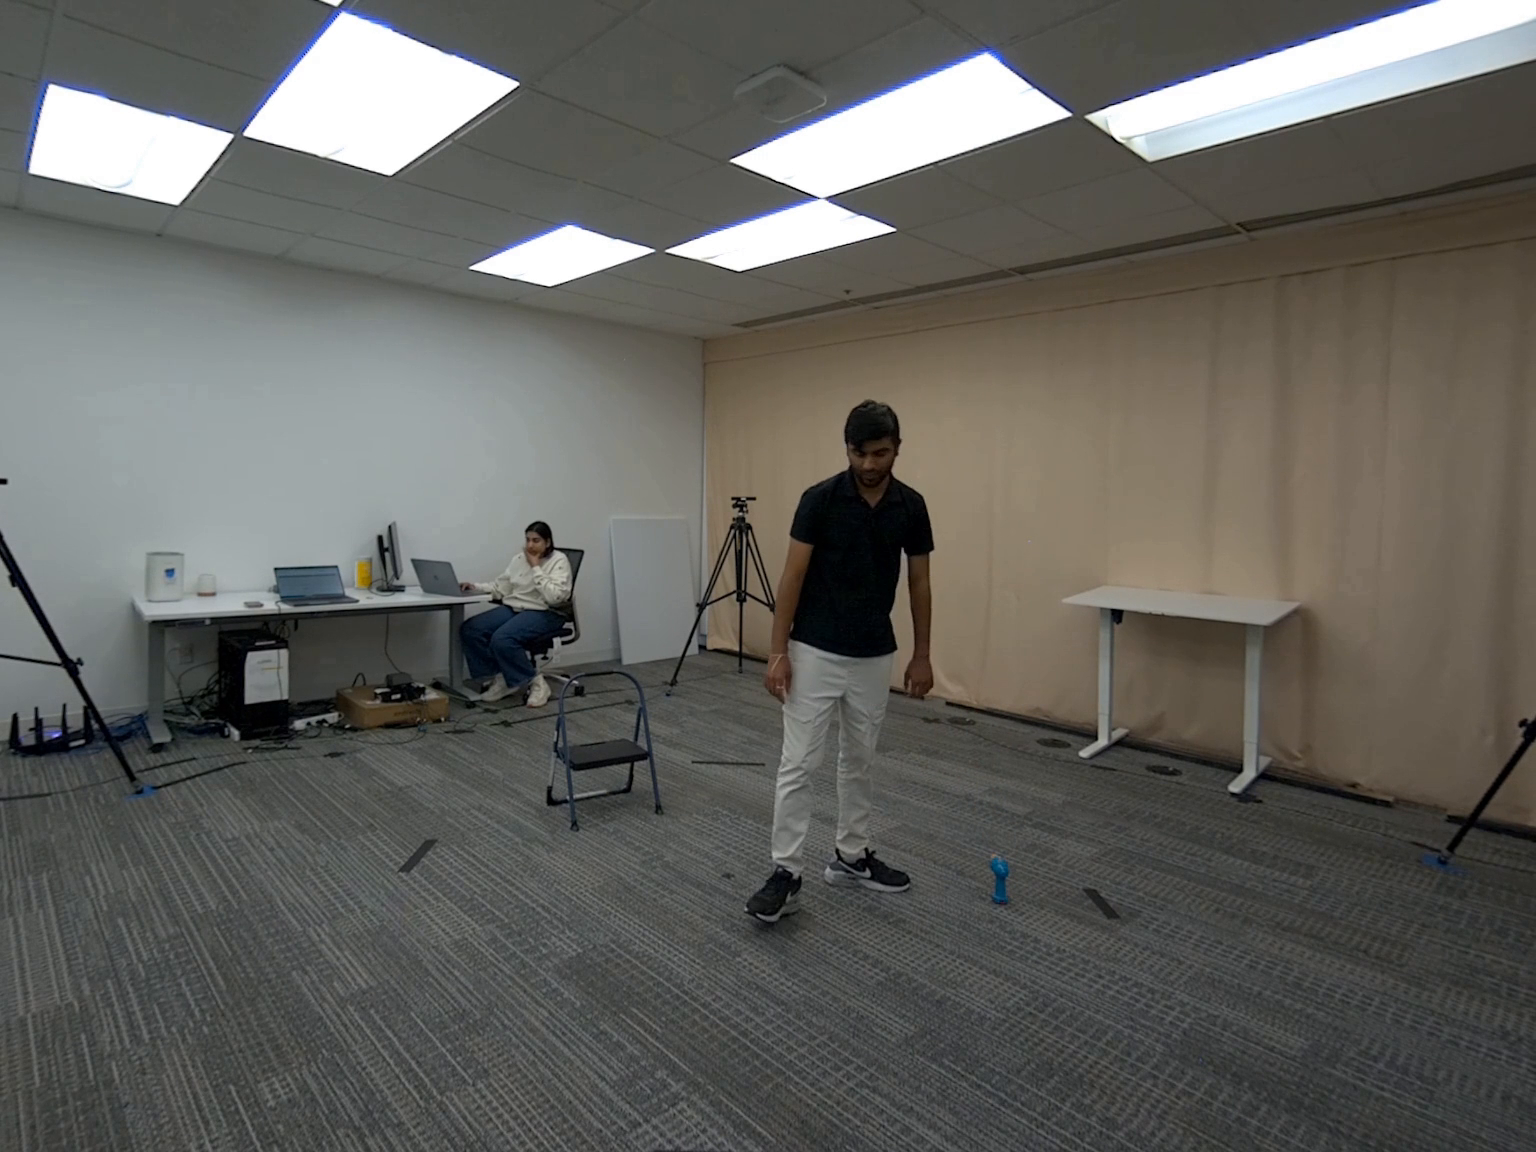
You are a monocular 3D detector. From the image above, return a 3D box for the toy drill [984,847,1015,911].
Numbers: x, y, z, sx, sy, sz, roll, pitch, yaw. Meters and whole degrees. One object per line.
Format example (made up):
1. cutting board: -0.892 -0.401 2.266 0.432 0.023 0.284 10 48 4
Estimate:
1. toy drill: 0.817 1.069 2.999 0.061 0.145 0.169 2 5 4
